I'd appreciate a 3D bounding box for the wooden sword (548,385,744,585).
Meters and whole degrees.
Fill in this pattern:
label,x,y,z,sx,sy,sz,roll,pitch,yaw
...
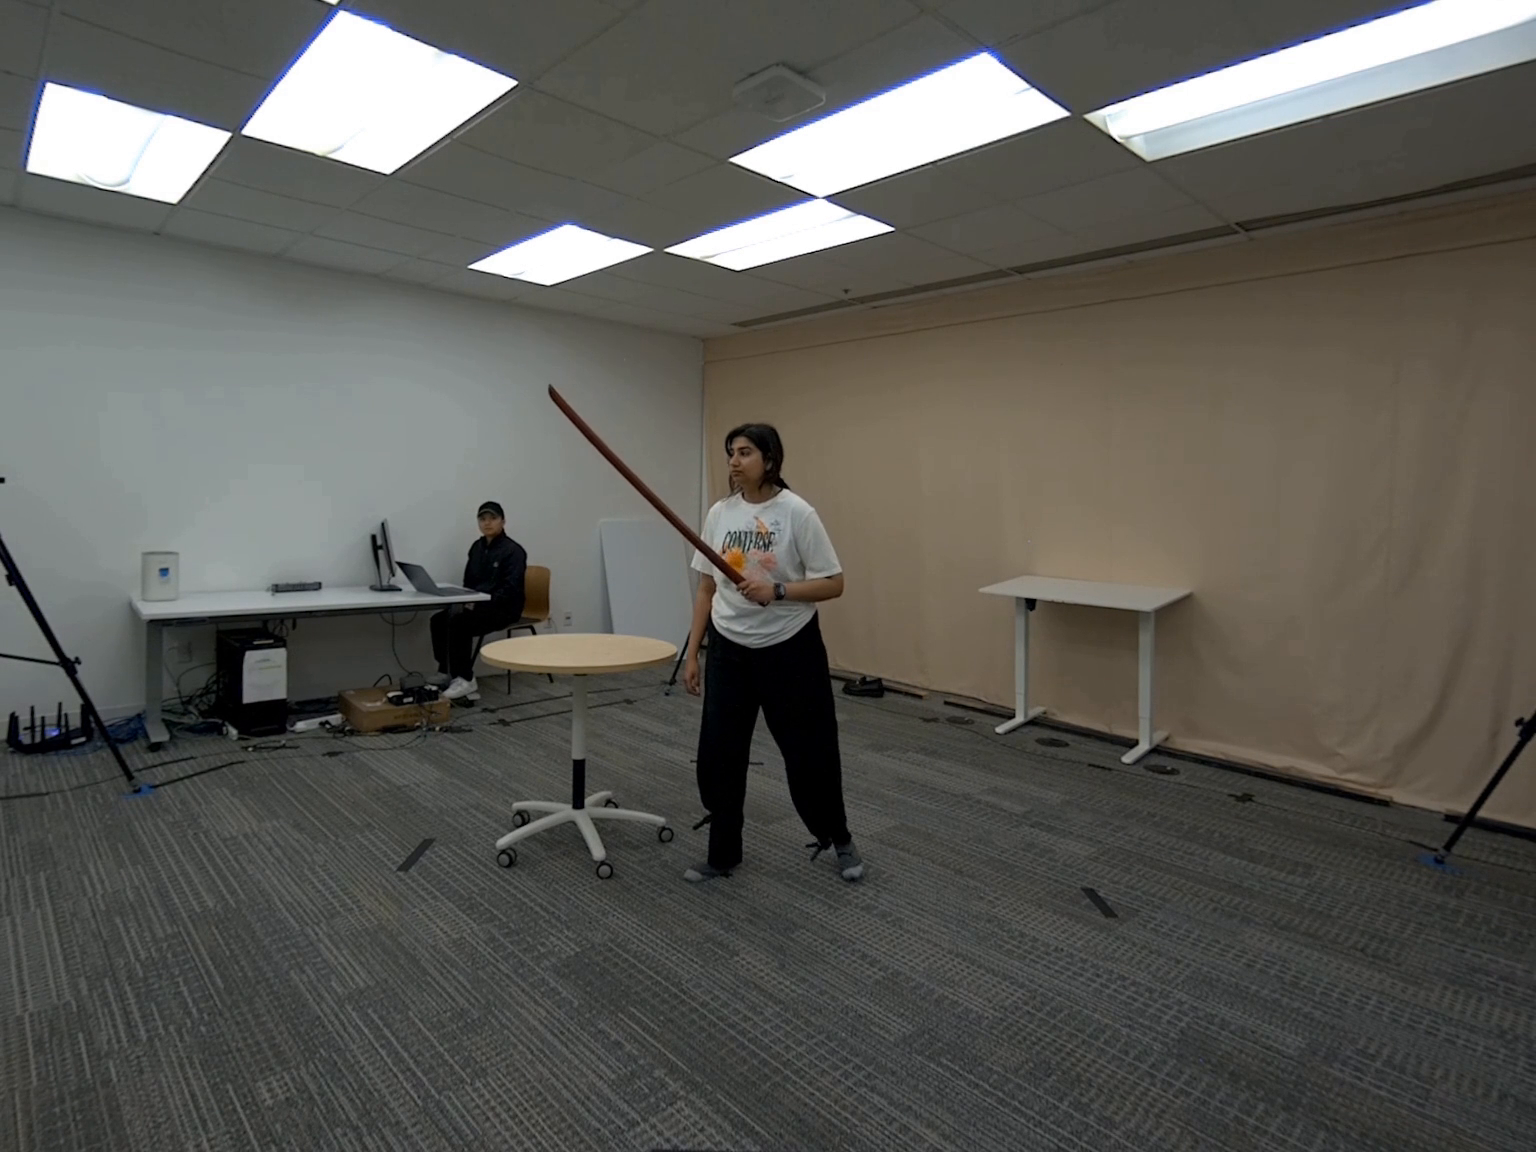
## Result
label,x,y,z,sx,sy,sz,roll,pitch,yaw
wooden sword,-0.369,-0.250,2.778,0.052,1.010,0.024,-25,24,55
